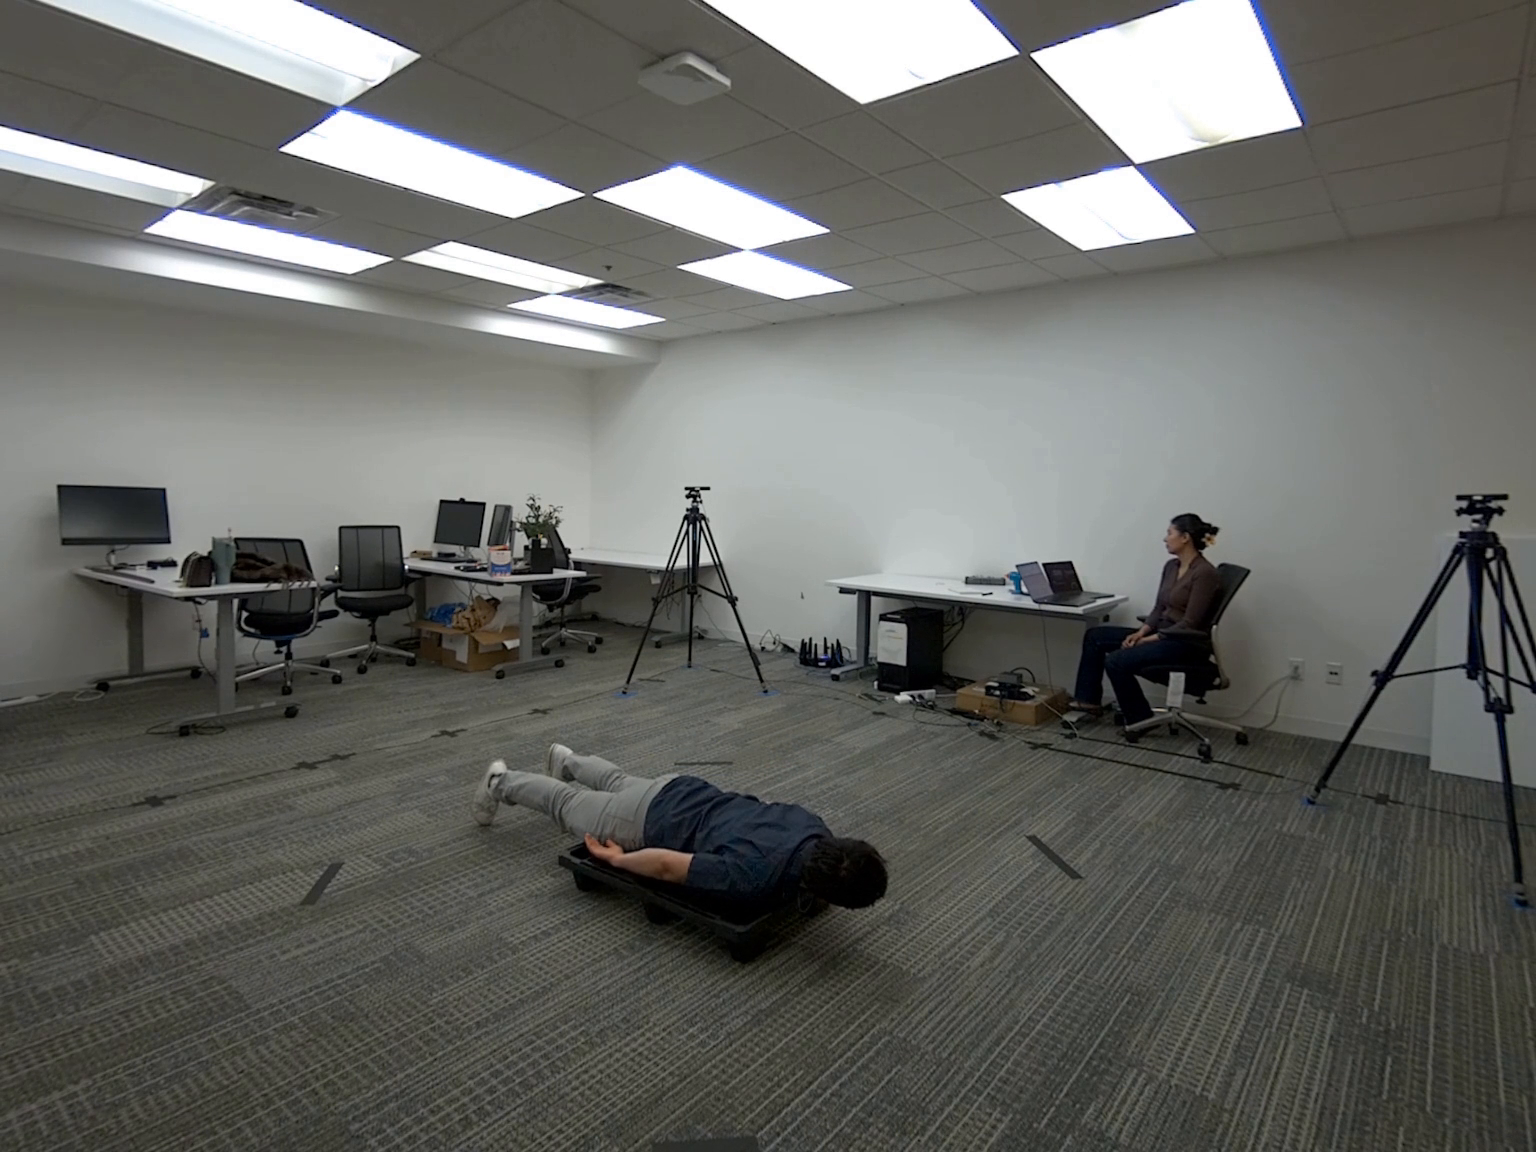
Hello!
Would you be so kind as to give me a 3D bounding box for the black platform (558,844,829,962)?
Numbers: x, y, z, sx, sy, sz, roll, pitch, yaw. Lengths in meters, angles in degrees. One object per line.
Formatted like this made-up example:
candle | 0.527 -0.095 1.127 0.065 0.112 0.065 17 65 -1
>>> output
black platform | -0.241 1.027 2.881 0.832 0.143 0.588 5 7 36
